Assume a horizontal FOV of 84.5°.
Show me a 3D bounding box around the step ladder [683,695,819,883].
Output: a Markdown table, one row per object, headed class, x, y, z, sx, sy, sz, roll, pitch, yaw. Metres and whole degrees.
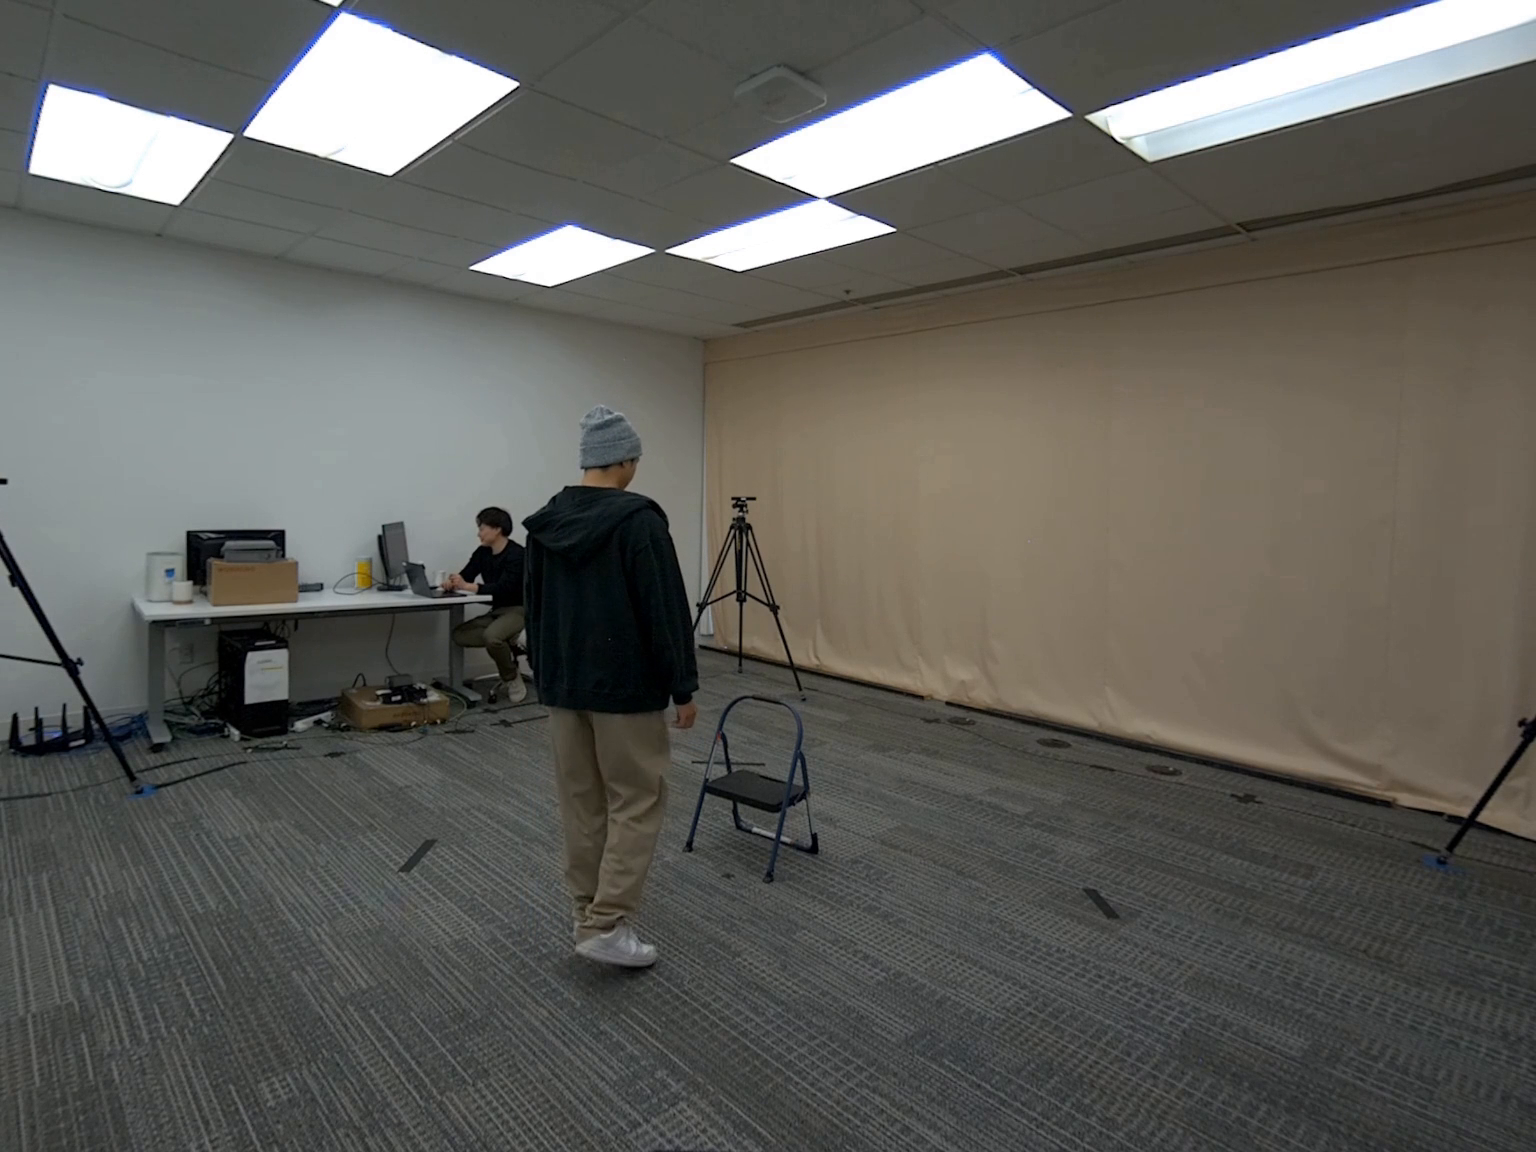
| class | x | y | z | sx | sy | sz | roll | pitch | yaw |
| --- | --- | --- | --- | --- | --- | --- | --- | --- | --- |
| step ladder | -0.060 | 0.787 | 3.303 | 0.441 | 0.604 | 0.341 | 4 | 4 | 37 |
